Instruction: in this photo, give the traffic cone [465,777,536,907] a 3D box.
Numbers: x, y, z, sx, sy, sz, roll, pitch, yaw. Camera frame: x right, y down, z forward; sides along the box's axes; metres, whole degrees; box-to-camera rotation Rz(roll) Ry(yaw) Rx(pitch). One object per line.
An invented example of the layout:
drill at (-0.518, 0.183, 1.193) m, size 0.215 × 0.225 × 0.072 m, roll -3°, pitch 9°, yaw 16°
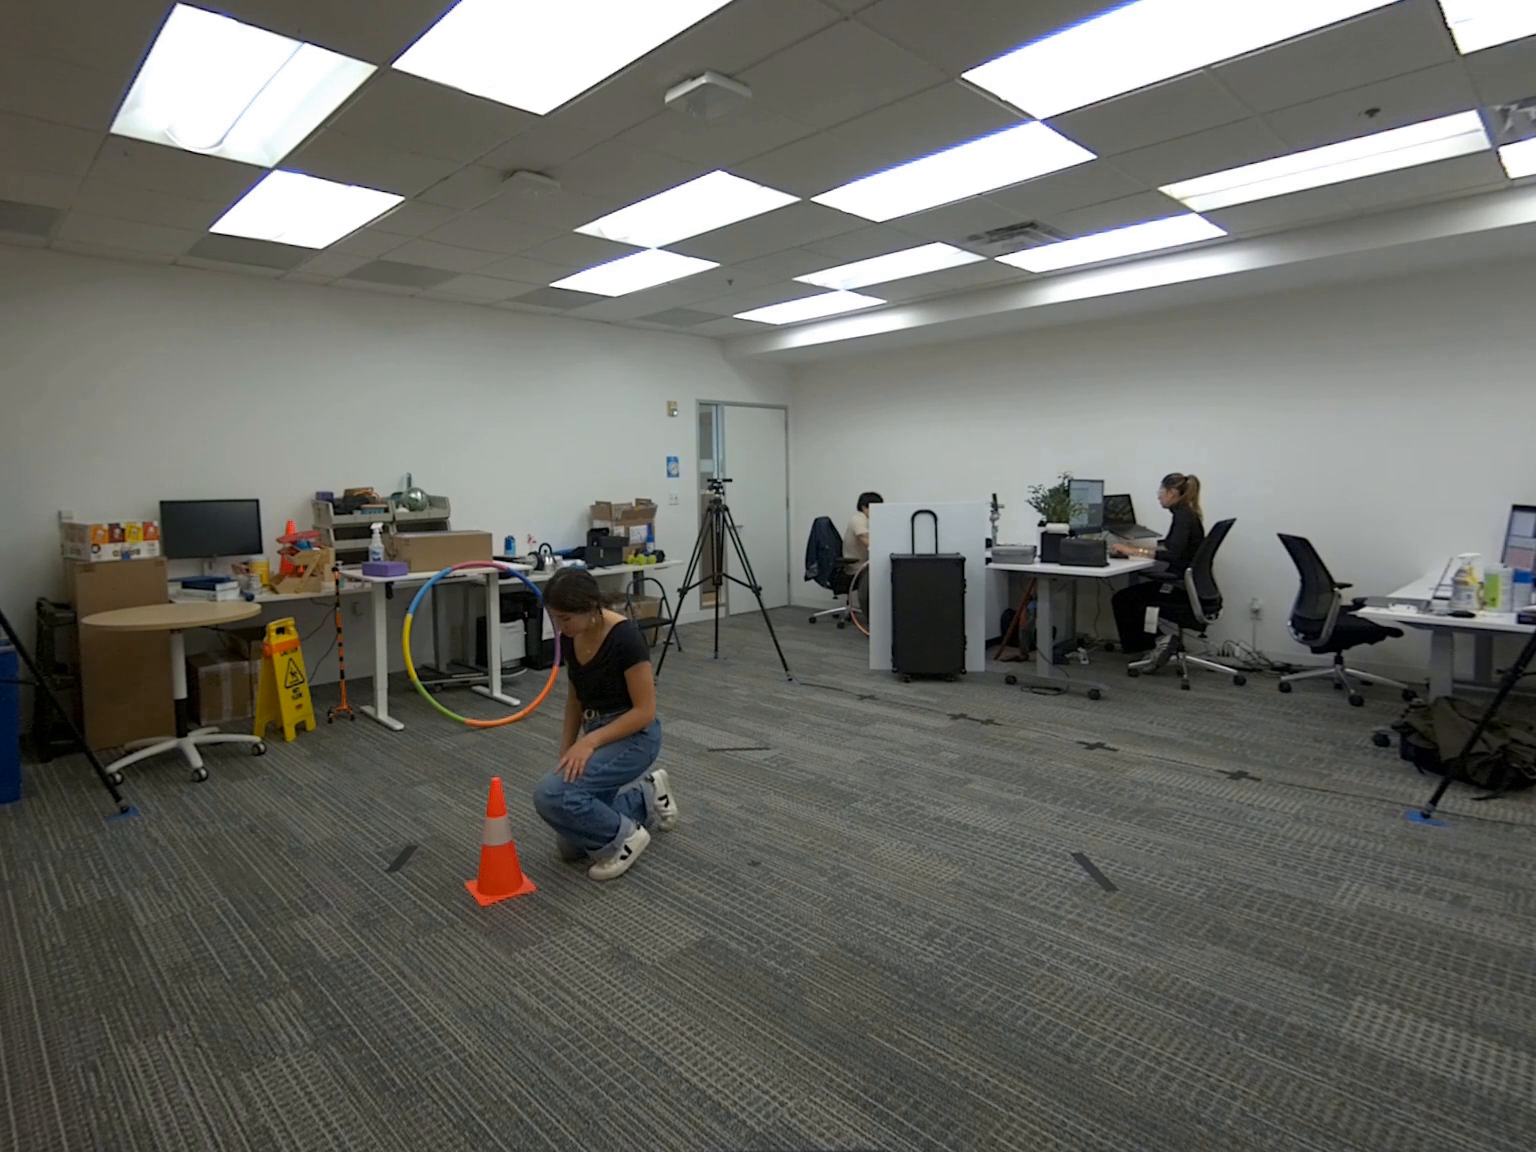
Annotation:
traffic cone at (-0.932, 0.894, 2.961) m, size 0.199 × 0.382 × 0.210 m, roll -3°, pitch 4°, yaw -25°
